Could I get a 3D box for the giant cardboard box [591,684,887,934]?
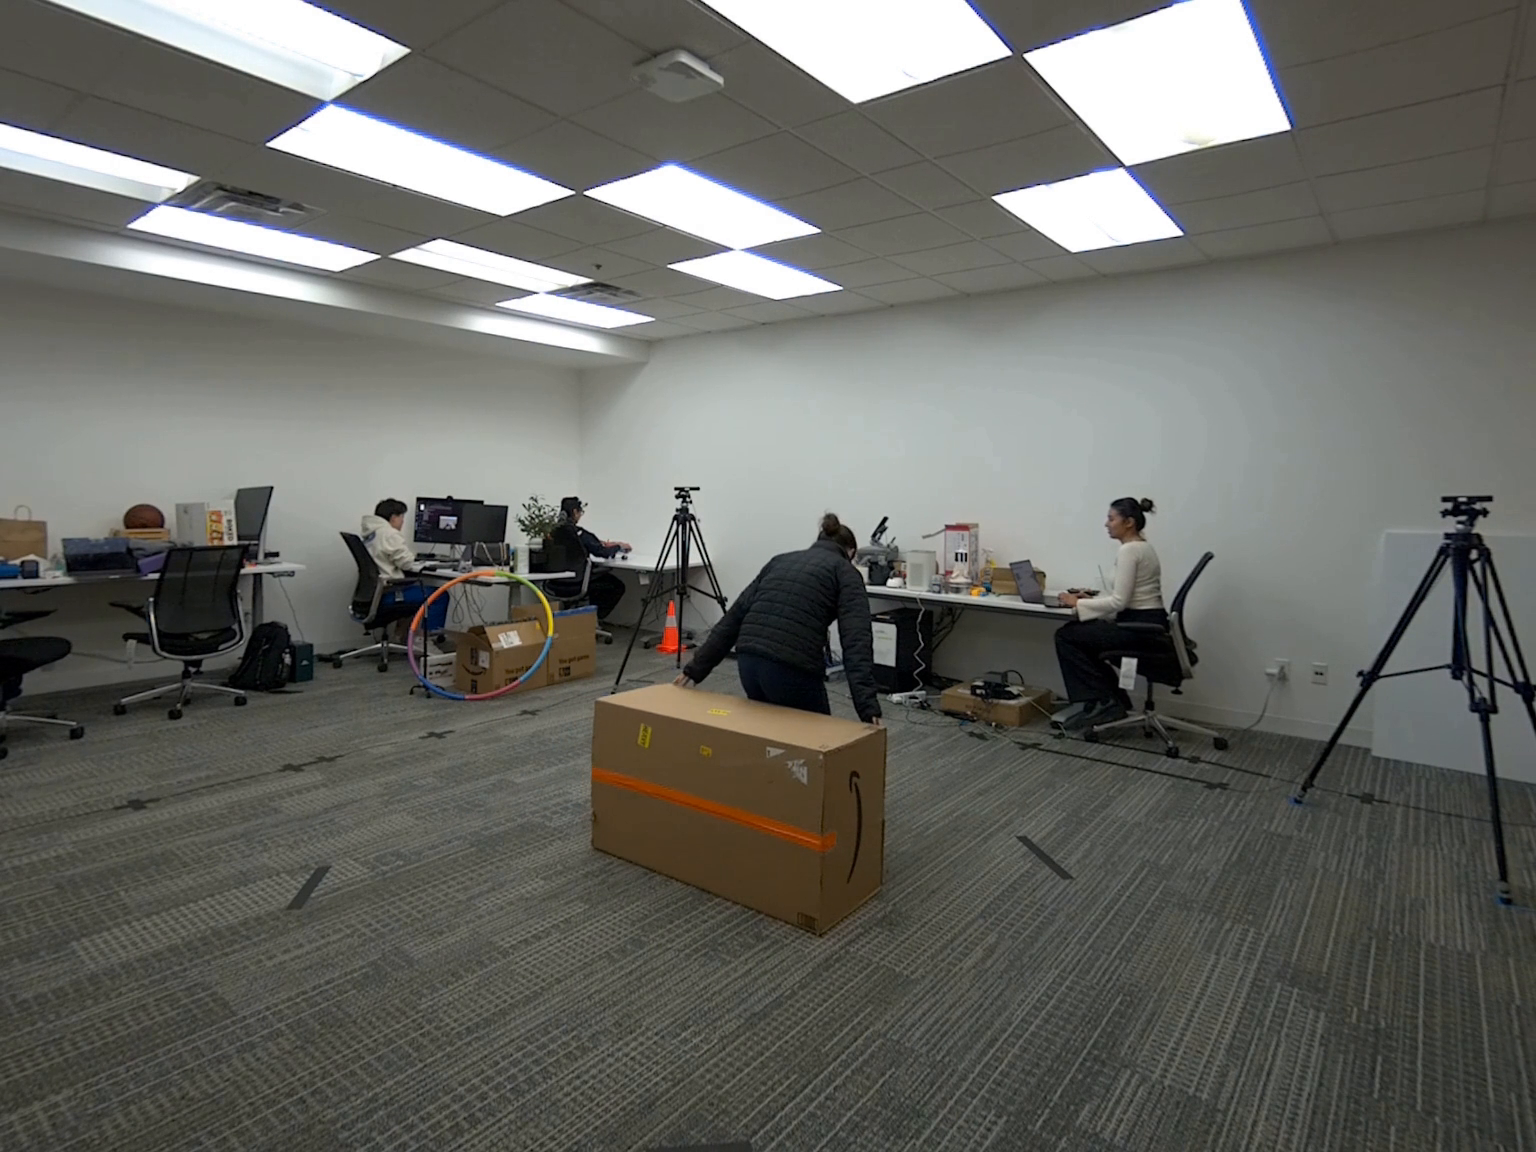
[{"bbox_3d":[-0.125,0.780,3.111,1.059,0.576,0.413,4,4,37],"label":"giant cardboard box"}]
